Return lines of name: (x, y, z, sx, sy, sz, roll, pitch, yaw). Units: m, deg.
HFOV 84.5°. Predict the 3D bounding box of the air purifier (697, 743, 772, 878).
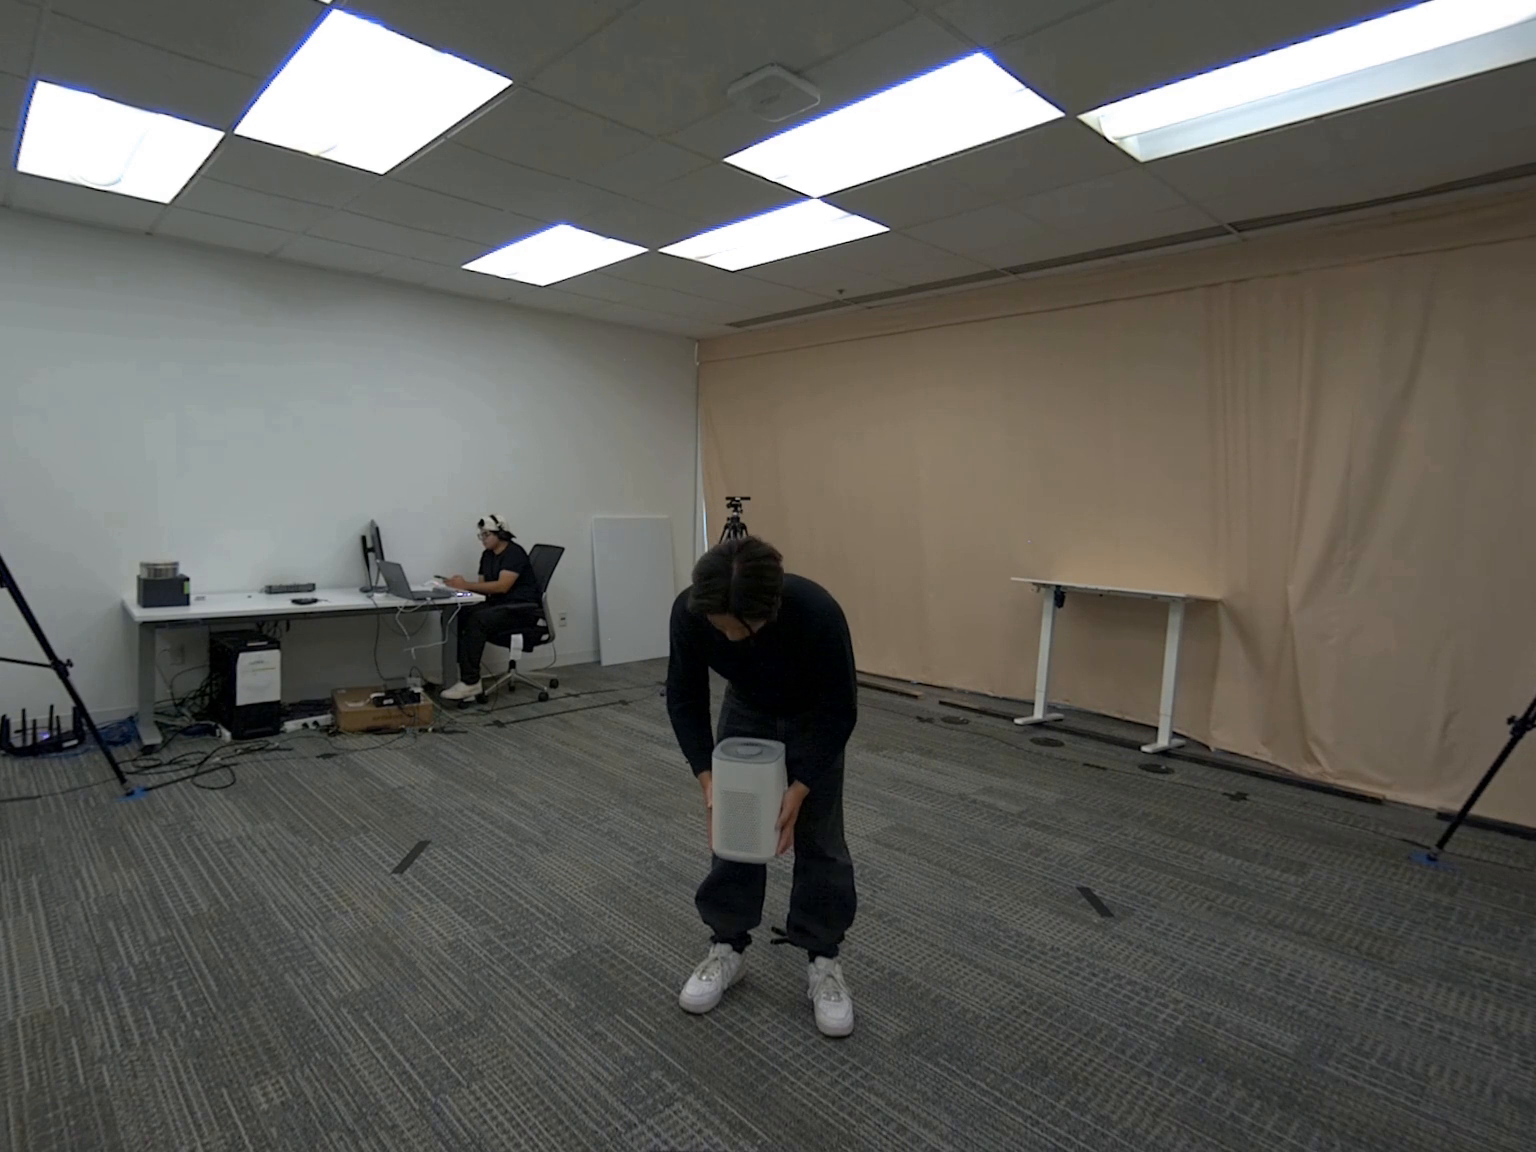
air purifier: (-0.086, 0.574, 2.095, 0.171, 0.264, 0.172, -1, 8, -3)
